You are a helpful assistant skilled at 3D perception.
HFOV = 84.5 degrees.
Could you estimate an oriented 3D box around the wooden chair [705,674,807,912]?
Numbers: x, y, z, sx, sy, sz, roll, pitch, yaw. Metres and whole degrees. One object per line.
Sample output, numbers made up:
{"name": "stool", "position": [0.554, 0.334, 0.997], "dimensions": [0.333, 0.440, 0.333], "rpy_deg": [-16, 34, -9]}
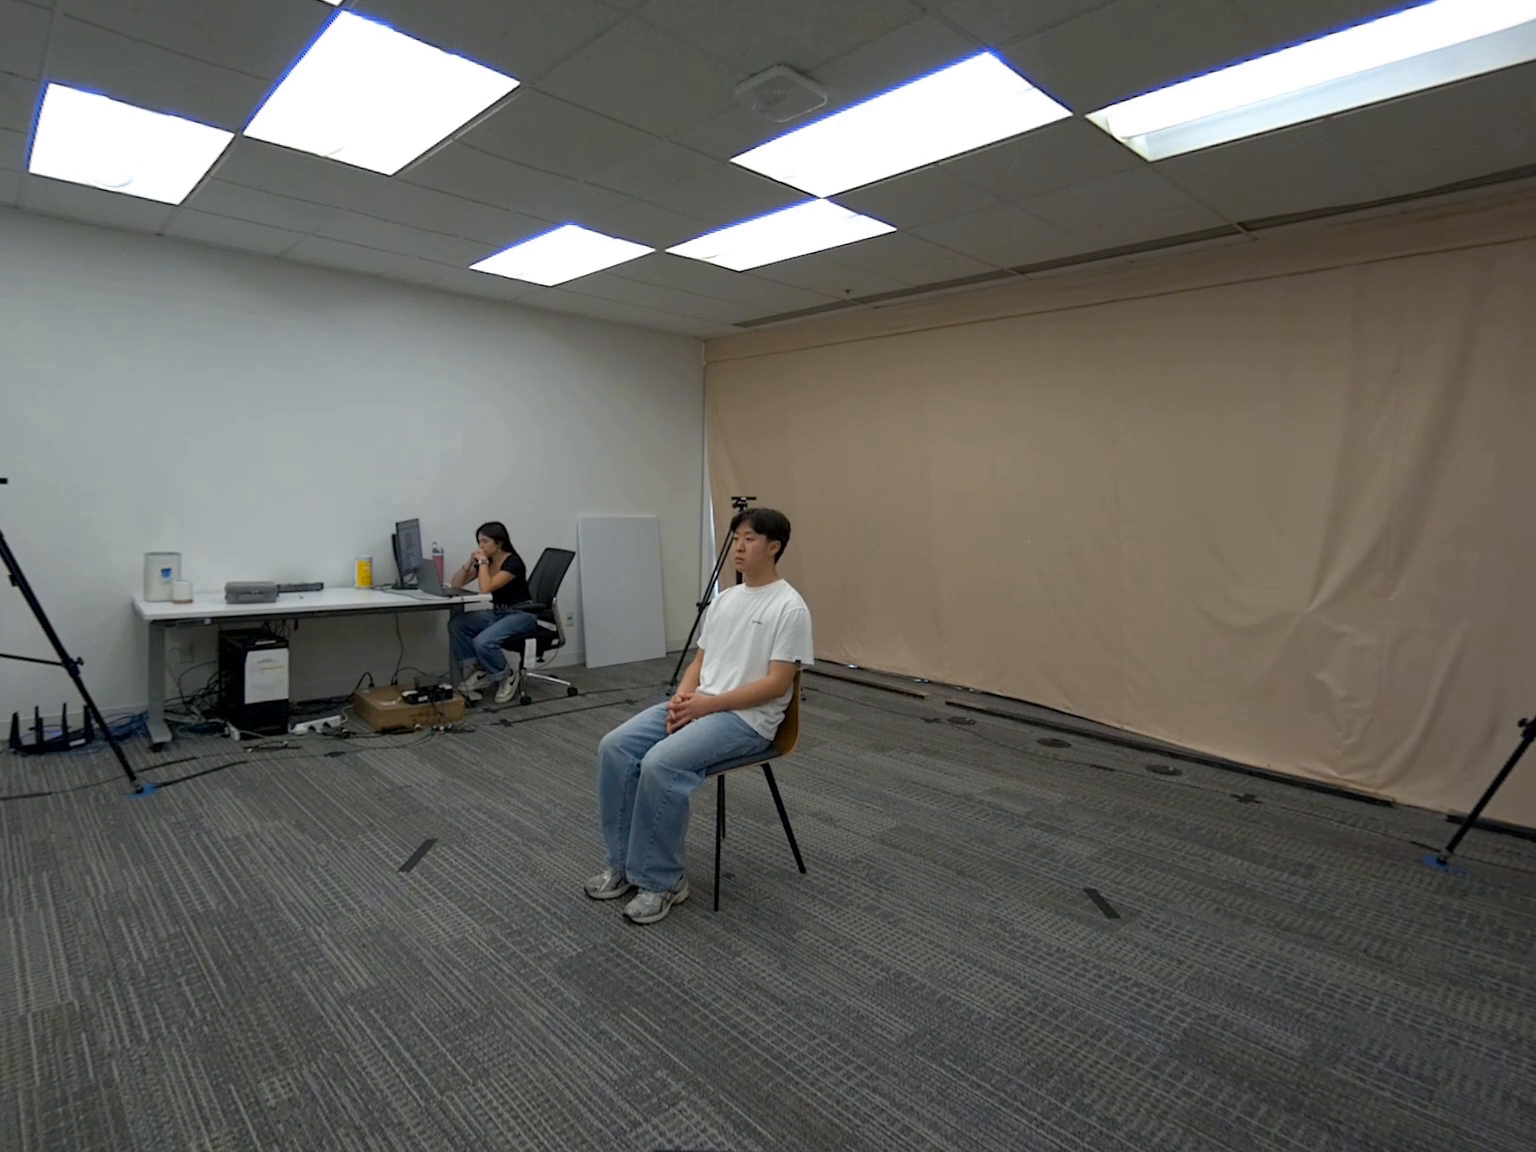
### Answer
{"name": "wooden chair", "position": [-0.172, 0.678, 3.120], "dimensions": [0.510, 0.878, 0.490], "rpy_deg": [5, -1, -45]}
